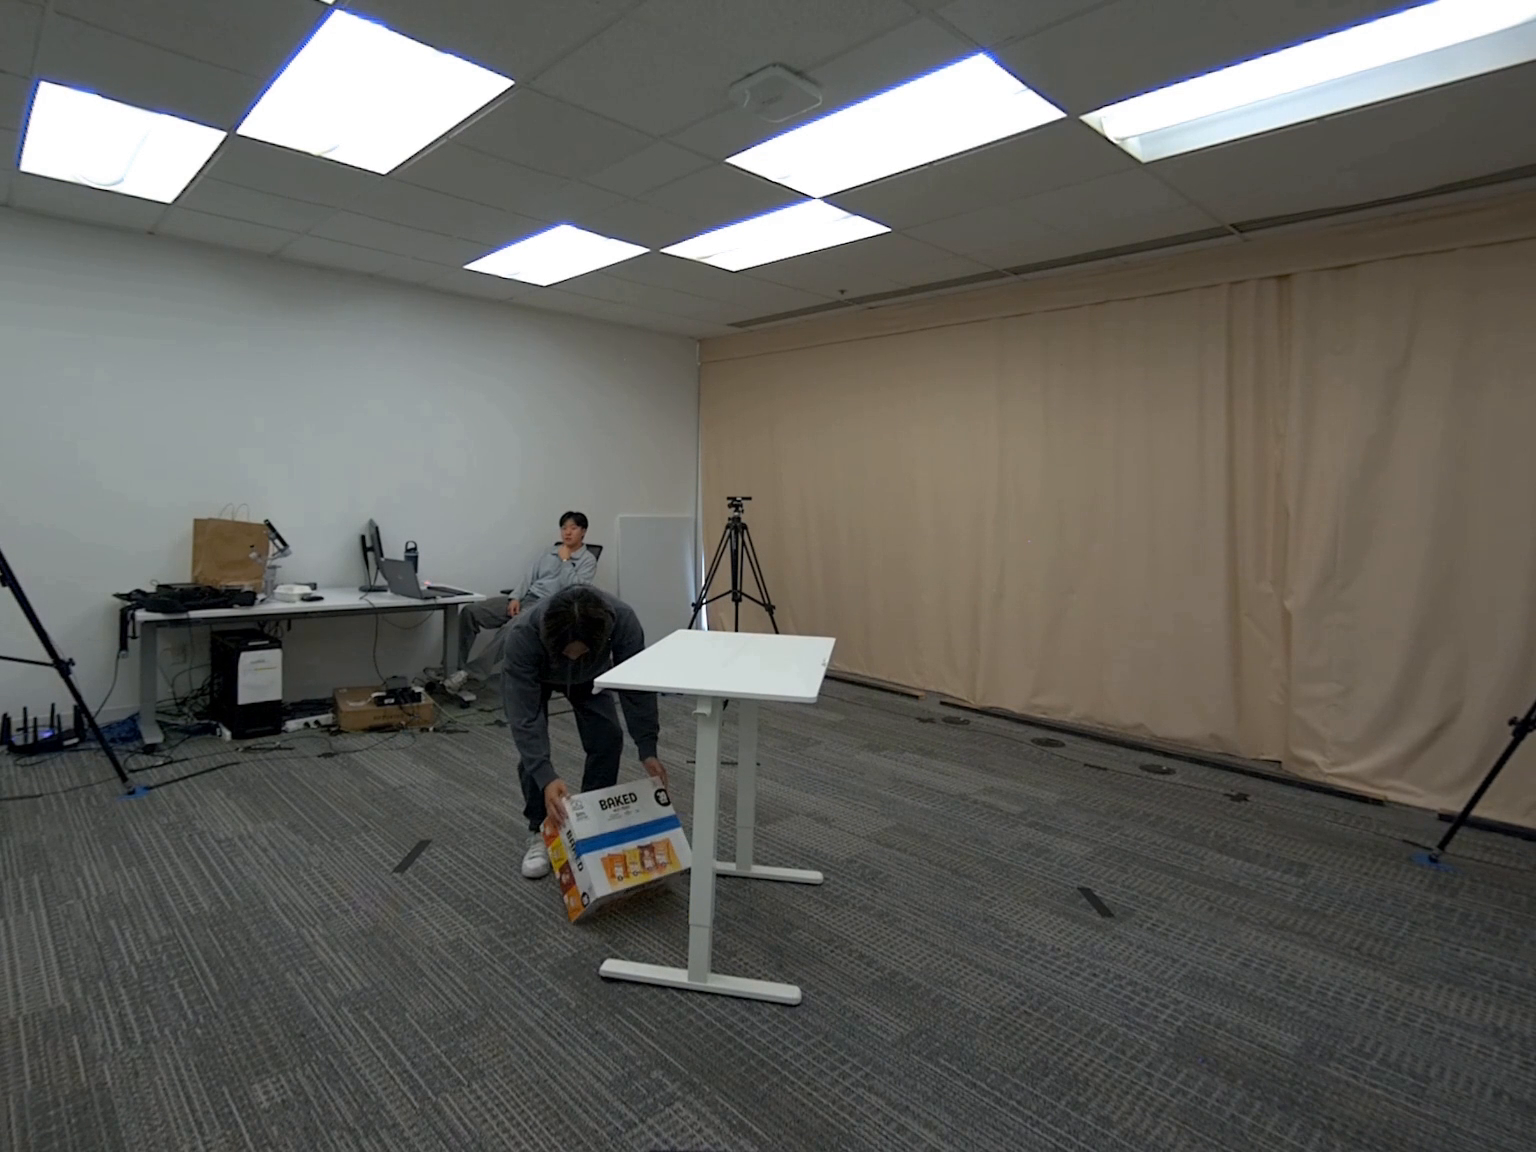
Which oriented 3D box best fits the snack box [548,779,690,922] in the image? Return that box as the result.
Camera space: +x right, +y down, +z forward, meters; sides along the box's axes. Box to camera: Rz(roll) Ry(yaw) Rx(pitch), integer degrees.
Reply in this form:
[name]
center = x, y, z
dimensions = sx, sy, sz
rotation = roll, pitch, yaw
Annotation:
[snack box]
center = -0.521, 0.923, 2.881
dimensions = 0.396, 0.349, 0.205
rotation = -2, -38, -42
